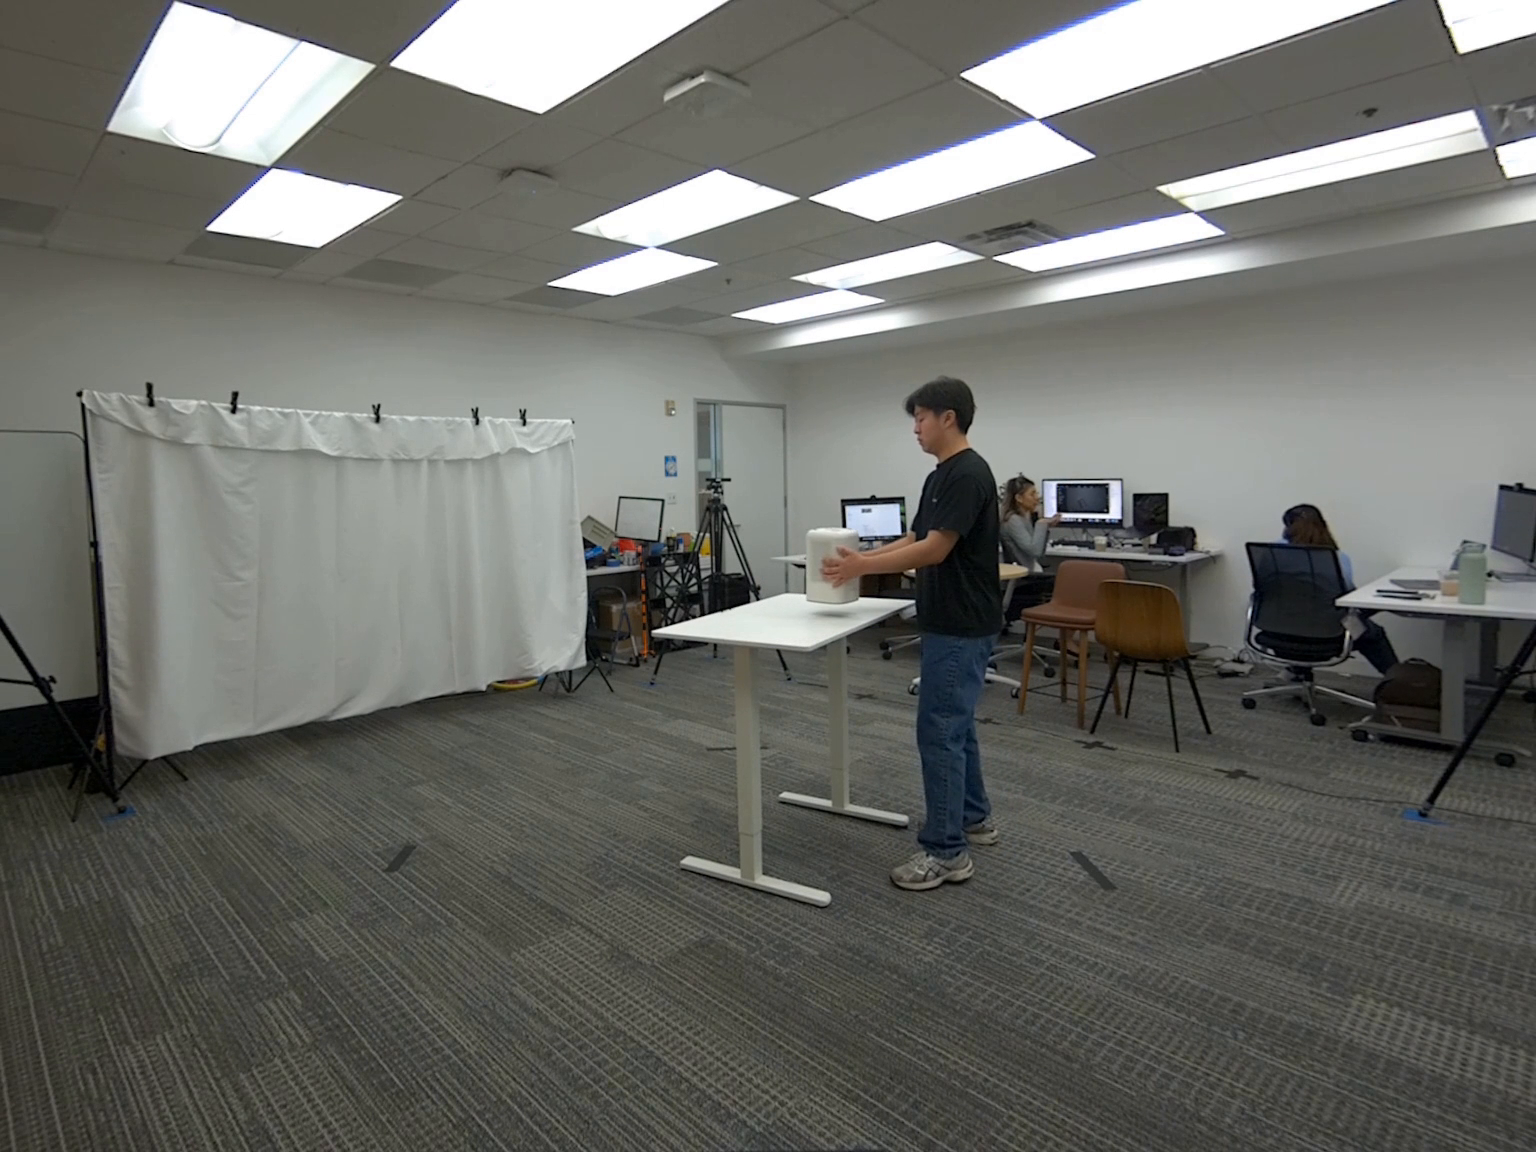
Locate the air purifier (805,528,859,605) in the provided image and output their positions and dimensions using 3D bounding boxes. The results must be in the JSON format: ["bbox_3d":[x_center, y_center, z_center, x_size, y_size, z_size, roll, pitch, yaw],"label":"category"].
[{"bbox_3d":[0.250,-0.042,3.169,0.176,0.264,0.167,2,6,32],"label":"air purifier"}]
